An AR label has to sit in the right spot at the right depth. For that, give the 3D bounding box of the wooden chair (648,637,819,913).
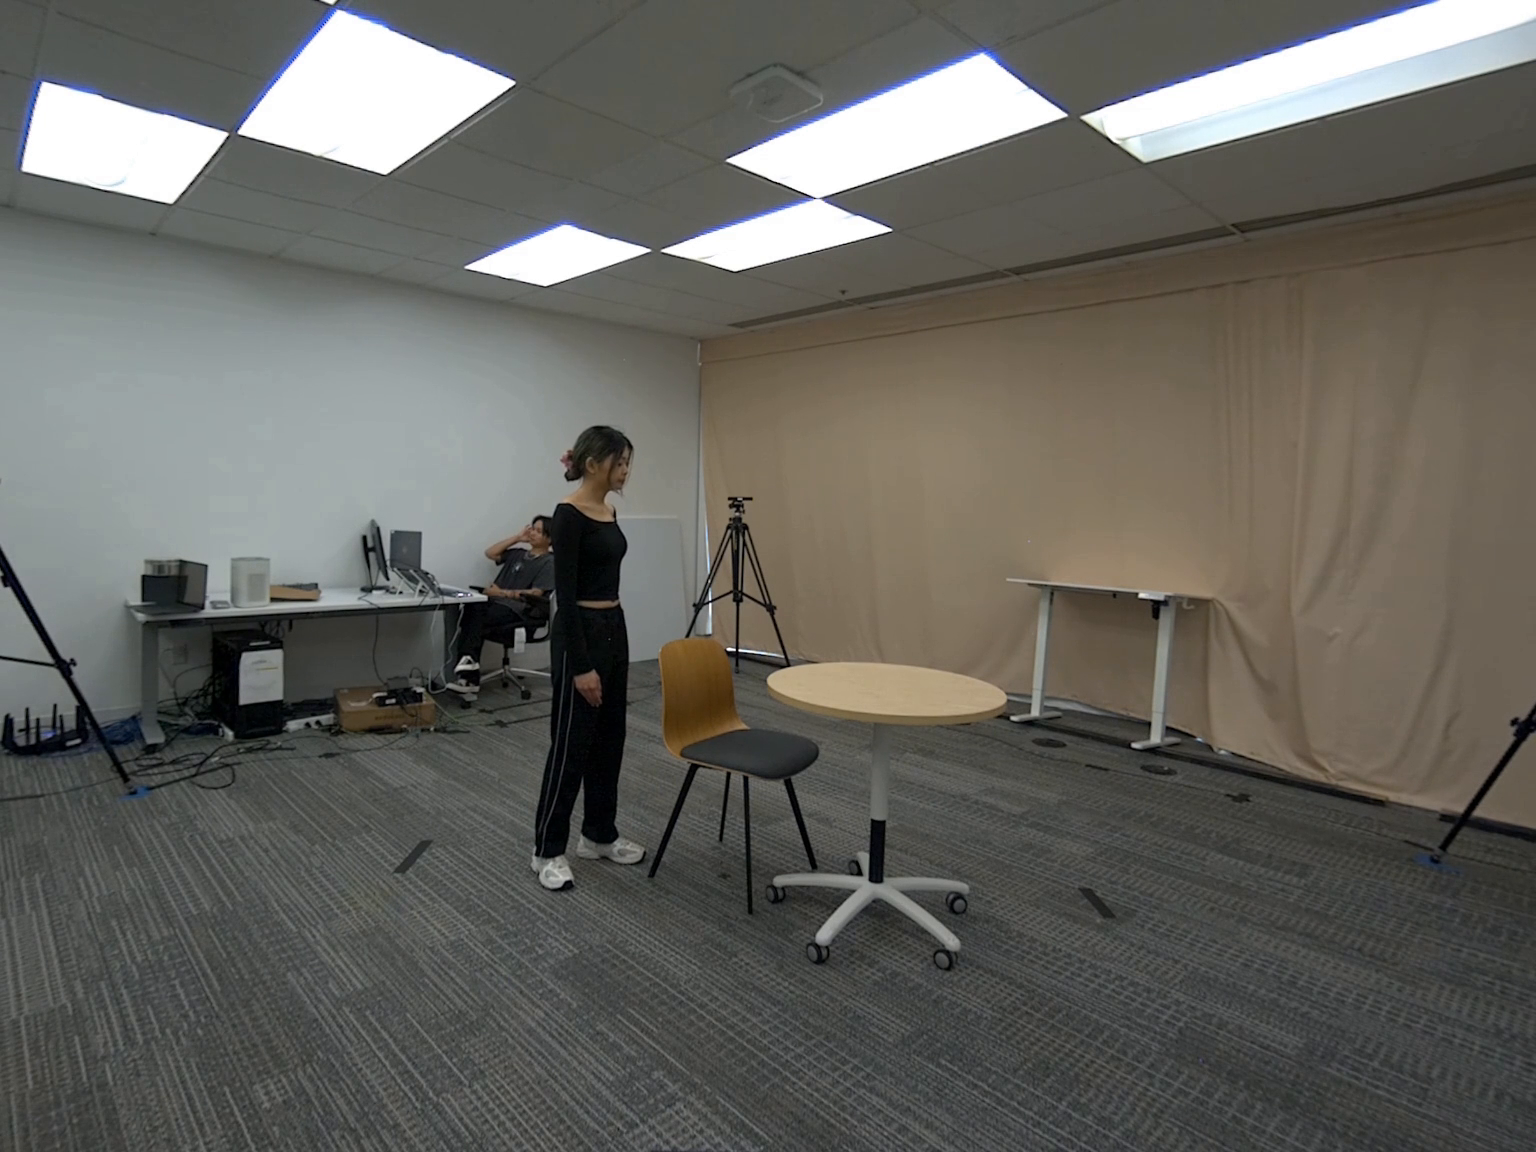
[{"bbox_3d":[-0.114,0.679,3.094,0.534,0.877,0.468,-1,1,35],"label":"wooden chair"}]
